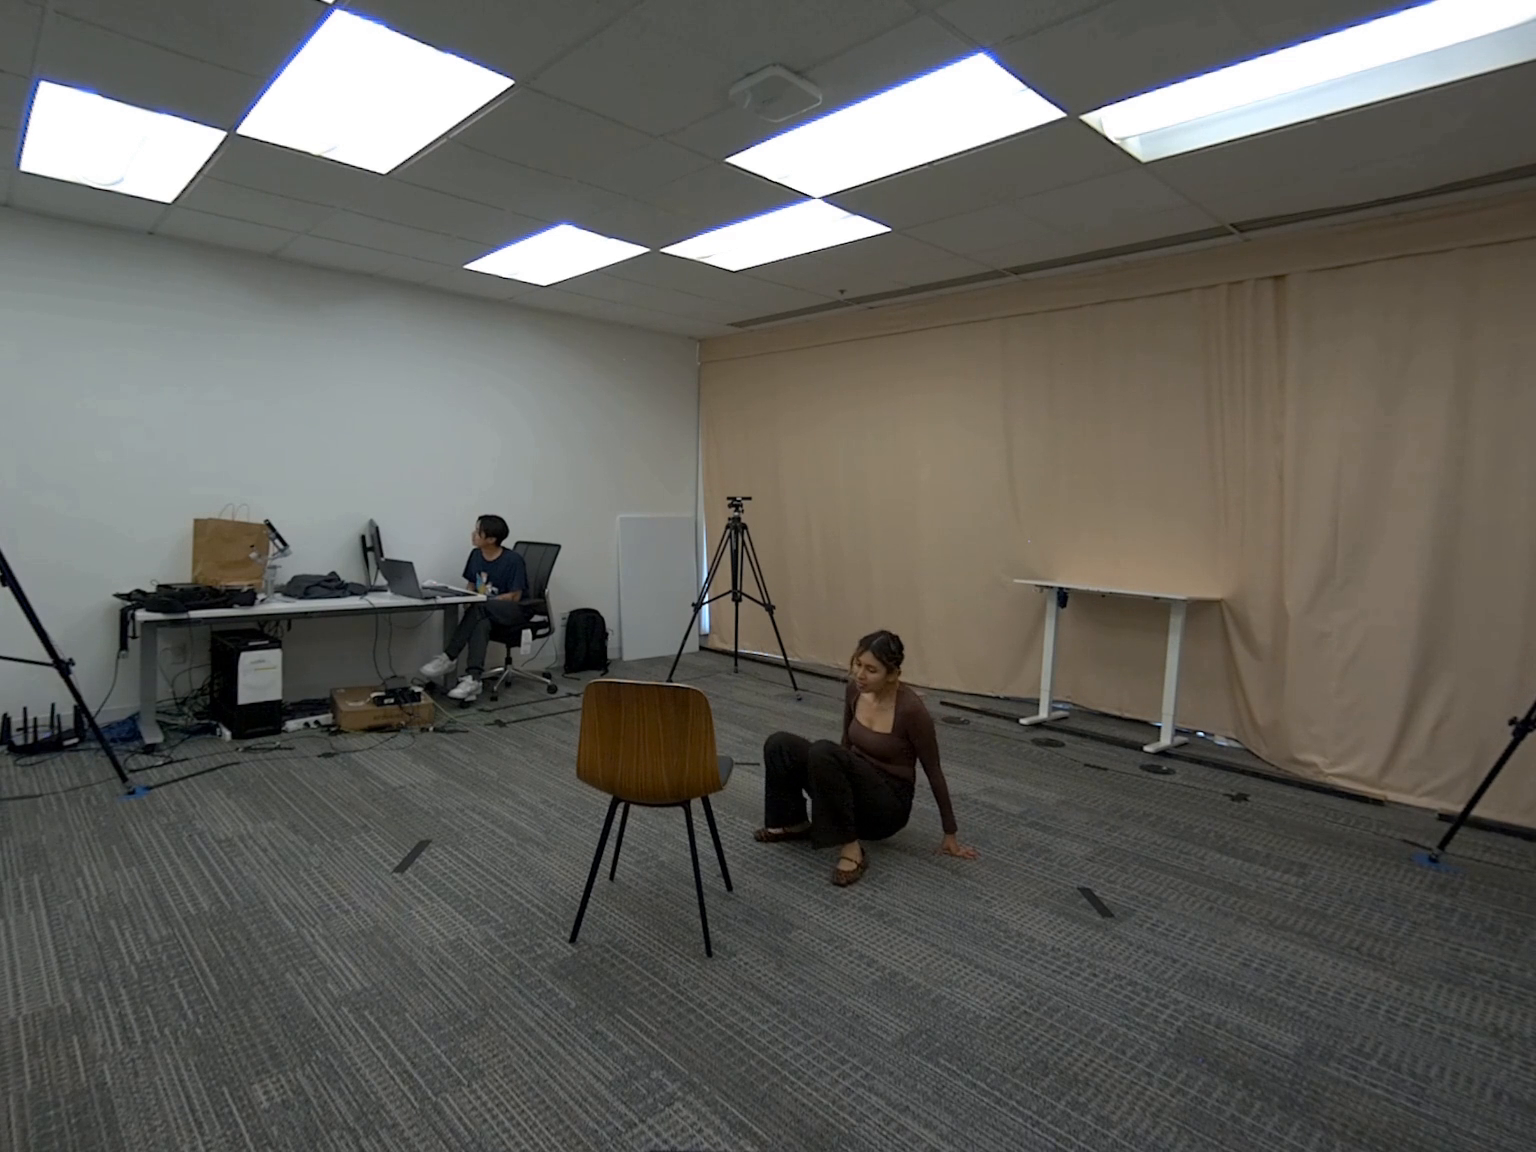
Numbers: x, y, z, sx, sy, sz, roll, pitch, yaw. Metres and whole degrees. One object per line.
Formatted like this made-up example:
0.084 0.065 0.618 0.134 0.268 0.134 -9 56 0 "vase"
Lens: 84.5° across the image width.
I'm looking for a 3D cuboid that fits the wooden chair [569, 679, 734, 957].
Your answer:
-0.368 0.705 2.775 0.481 0.873 0.523 1 7 7 "wooden chair"
